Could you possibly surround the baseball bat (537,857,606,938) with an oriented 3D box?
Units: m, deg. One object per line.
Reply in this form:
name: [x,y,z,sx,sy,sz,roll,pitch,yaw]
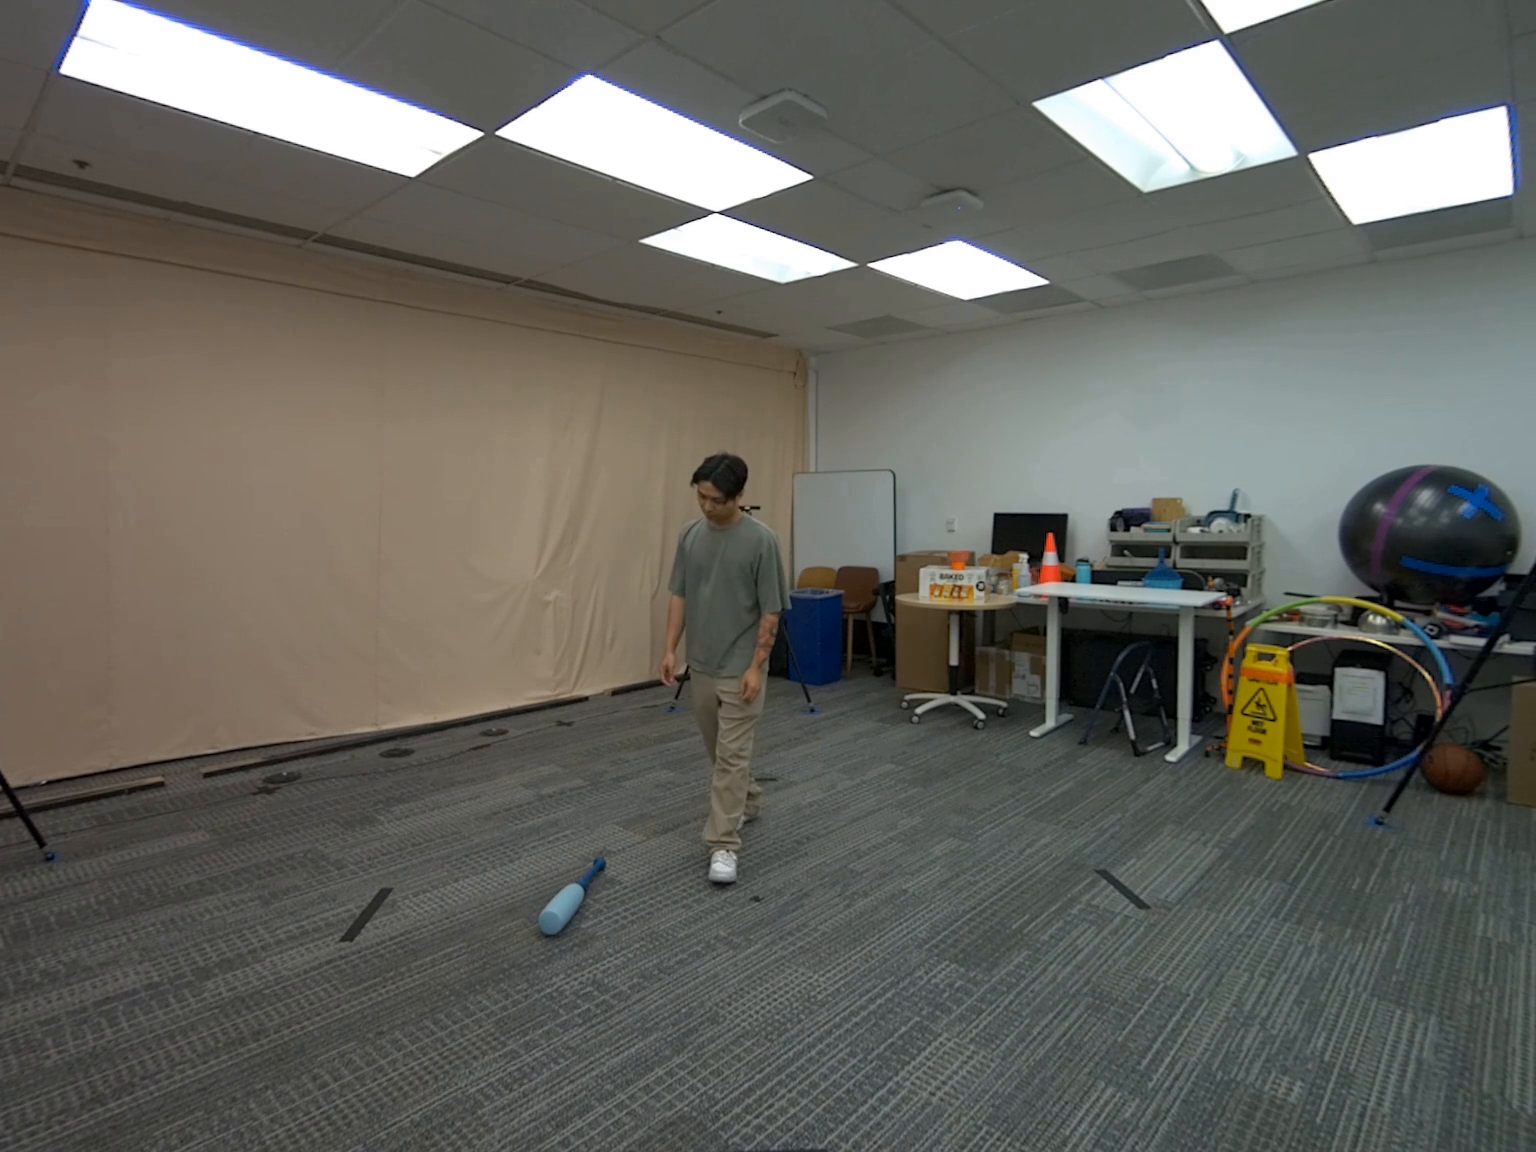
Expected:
baseball bat: [-0.676,1.112,2.970,0.090,0.089,0.539,1,2,6]
